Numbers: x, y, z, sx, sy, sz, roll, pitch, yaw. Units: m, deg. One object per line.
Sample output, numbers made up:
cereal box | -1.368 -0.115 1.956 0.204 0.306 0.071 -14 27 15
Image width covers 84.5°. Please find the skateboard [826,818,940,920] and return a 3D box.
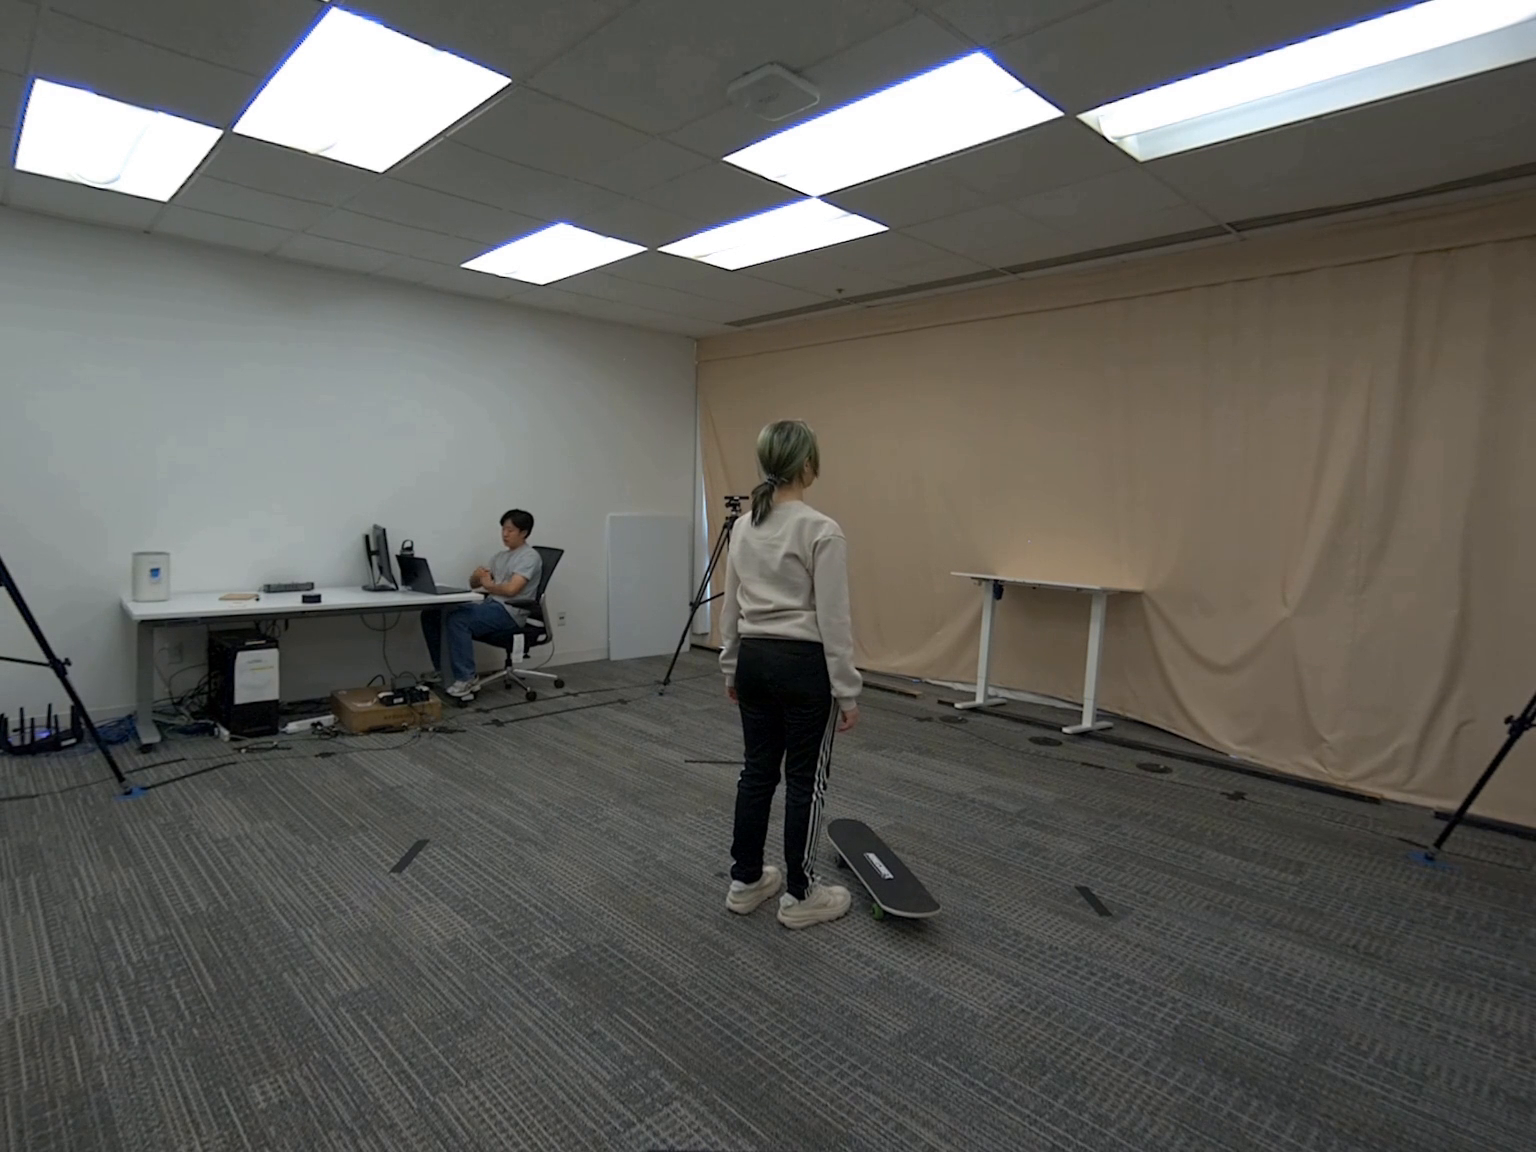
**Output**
skateboard | 0.390 1.067 3.019 0.191 0.110 0.796 1 5 -14
